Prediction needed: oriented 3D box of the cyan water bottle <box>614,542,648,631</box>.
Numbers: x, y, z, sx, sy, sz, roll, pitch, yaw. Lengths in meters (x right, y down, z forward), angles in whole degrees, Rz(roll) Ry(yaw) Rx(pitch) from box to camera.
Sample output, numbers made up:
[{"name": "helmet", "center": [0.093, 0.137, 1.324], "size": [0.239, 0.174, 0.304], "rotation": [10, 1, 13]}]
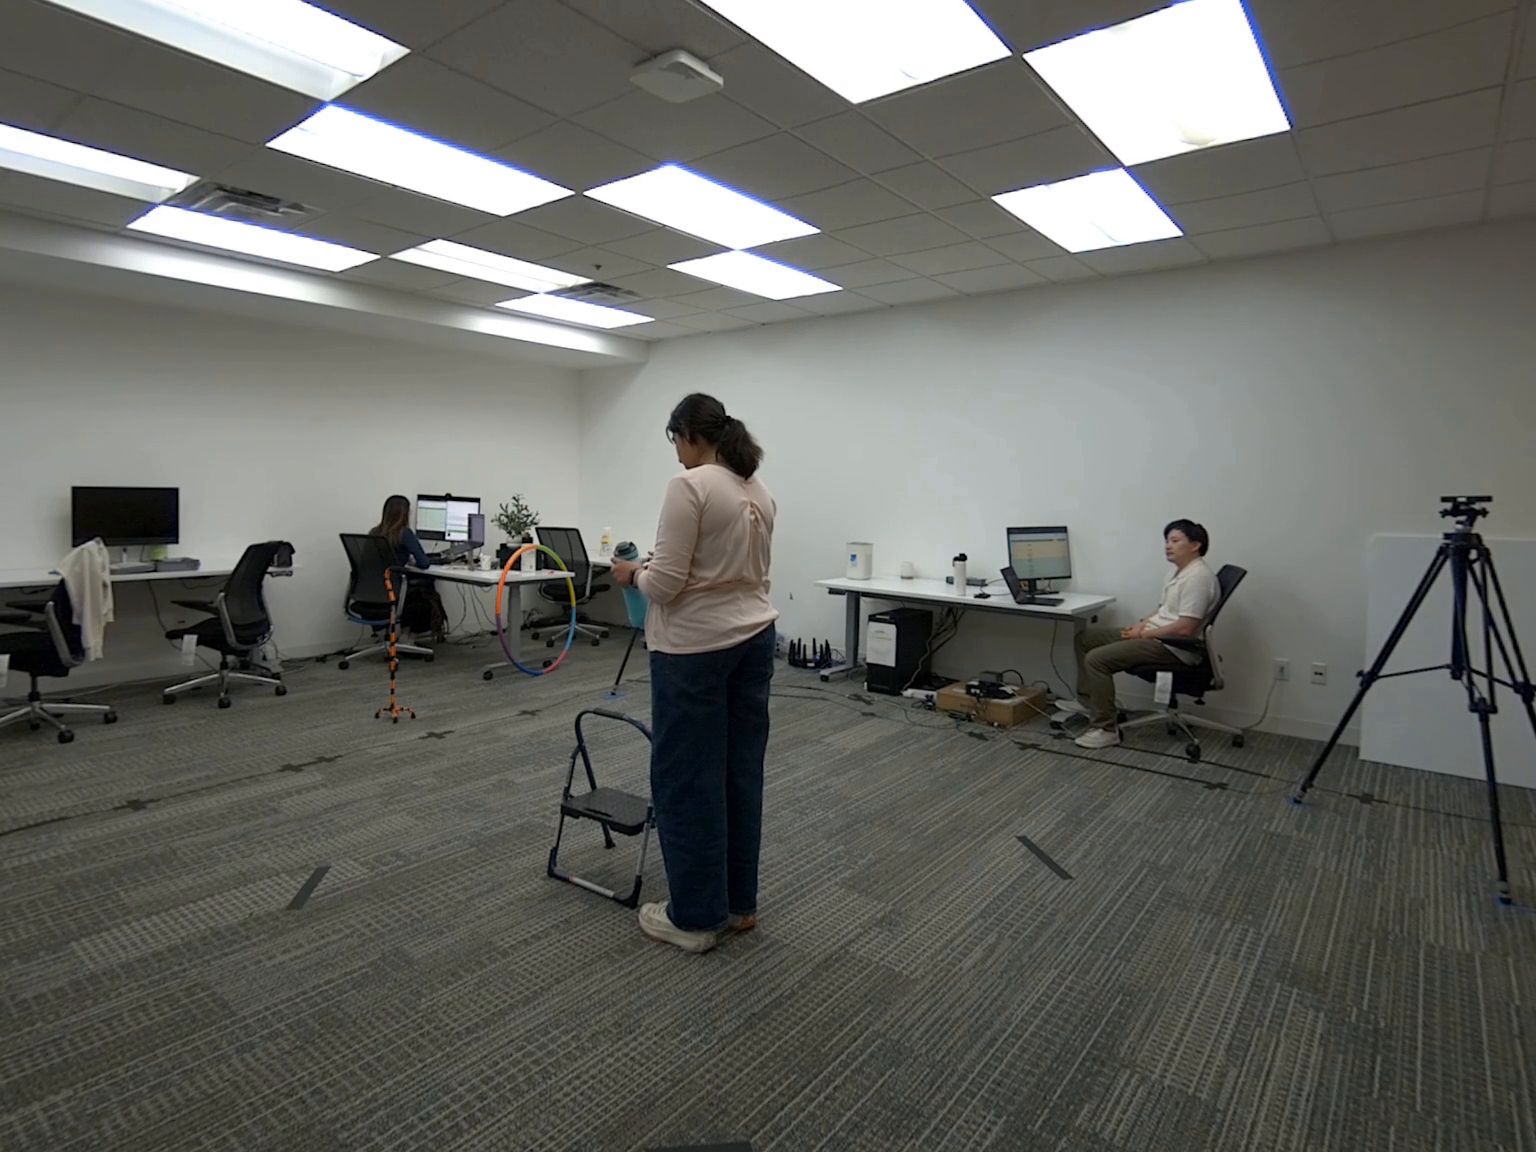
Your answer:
[{"name": "cyan water bottle", "center": [-0.448, 0.021, 2.815], "size": [0.092, 0.280, 0.093], "rotation": [-13, 11, 1]}]
